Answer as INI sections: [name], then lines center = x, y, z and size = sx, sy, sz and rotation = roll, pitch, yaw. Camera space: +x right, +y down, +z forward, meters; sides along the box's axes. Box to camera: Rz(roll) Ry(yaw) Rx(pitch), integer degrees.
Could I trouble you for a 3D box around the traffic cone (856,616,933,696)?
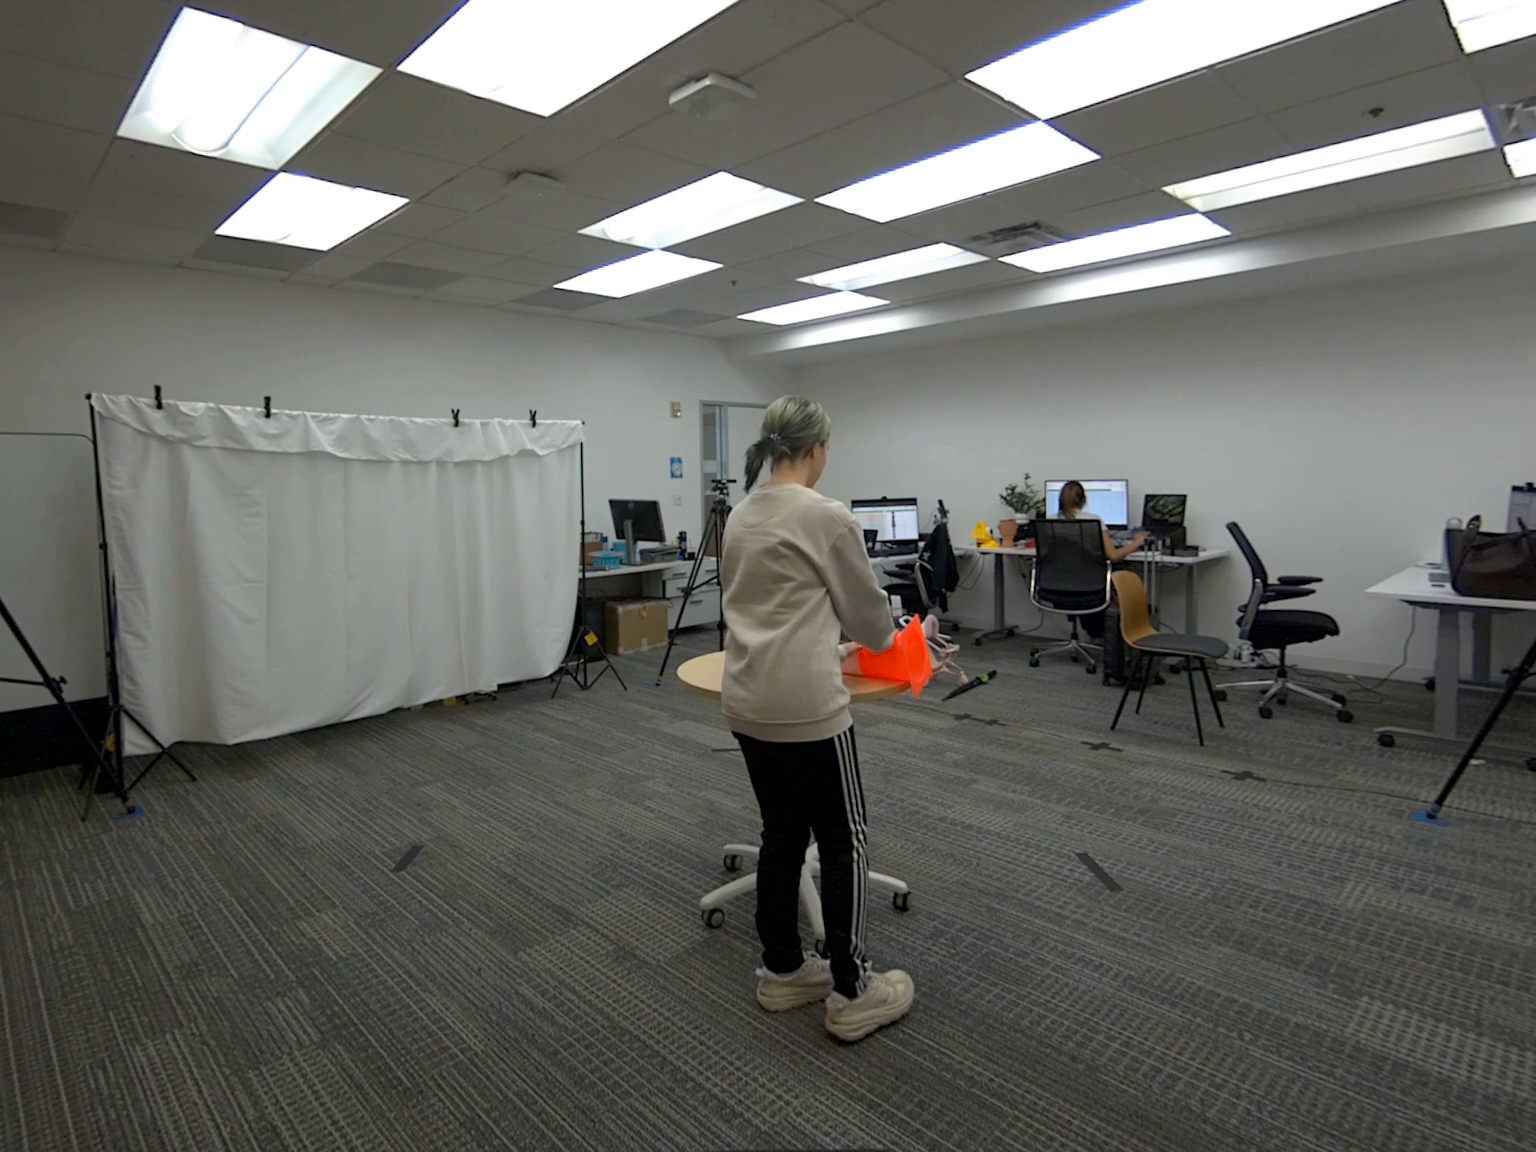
[traffic cone]
center = 0.289, 0.259, 2.656
size = 0.392, 0.201, 0.203
rotation = -8, 13, 31
